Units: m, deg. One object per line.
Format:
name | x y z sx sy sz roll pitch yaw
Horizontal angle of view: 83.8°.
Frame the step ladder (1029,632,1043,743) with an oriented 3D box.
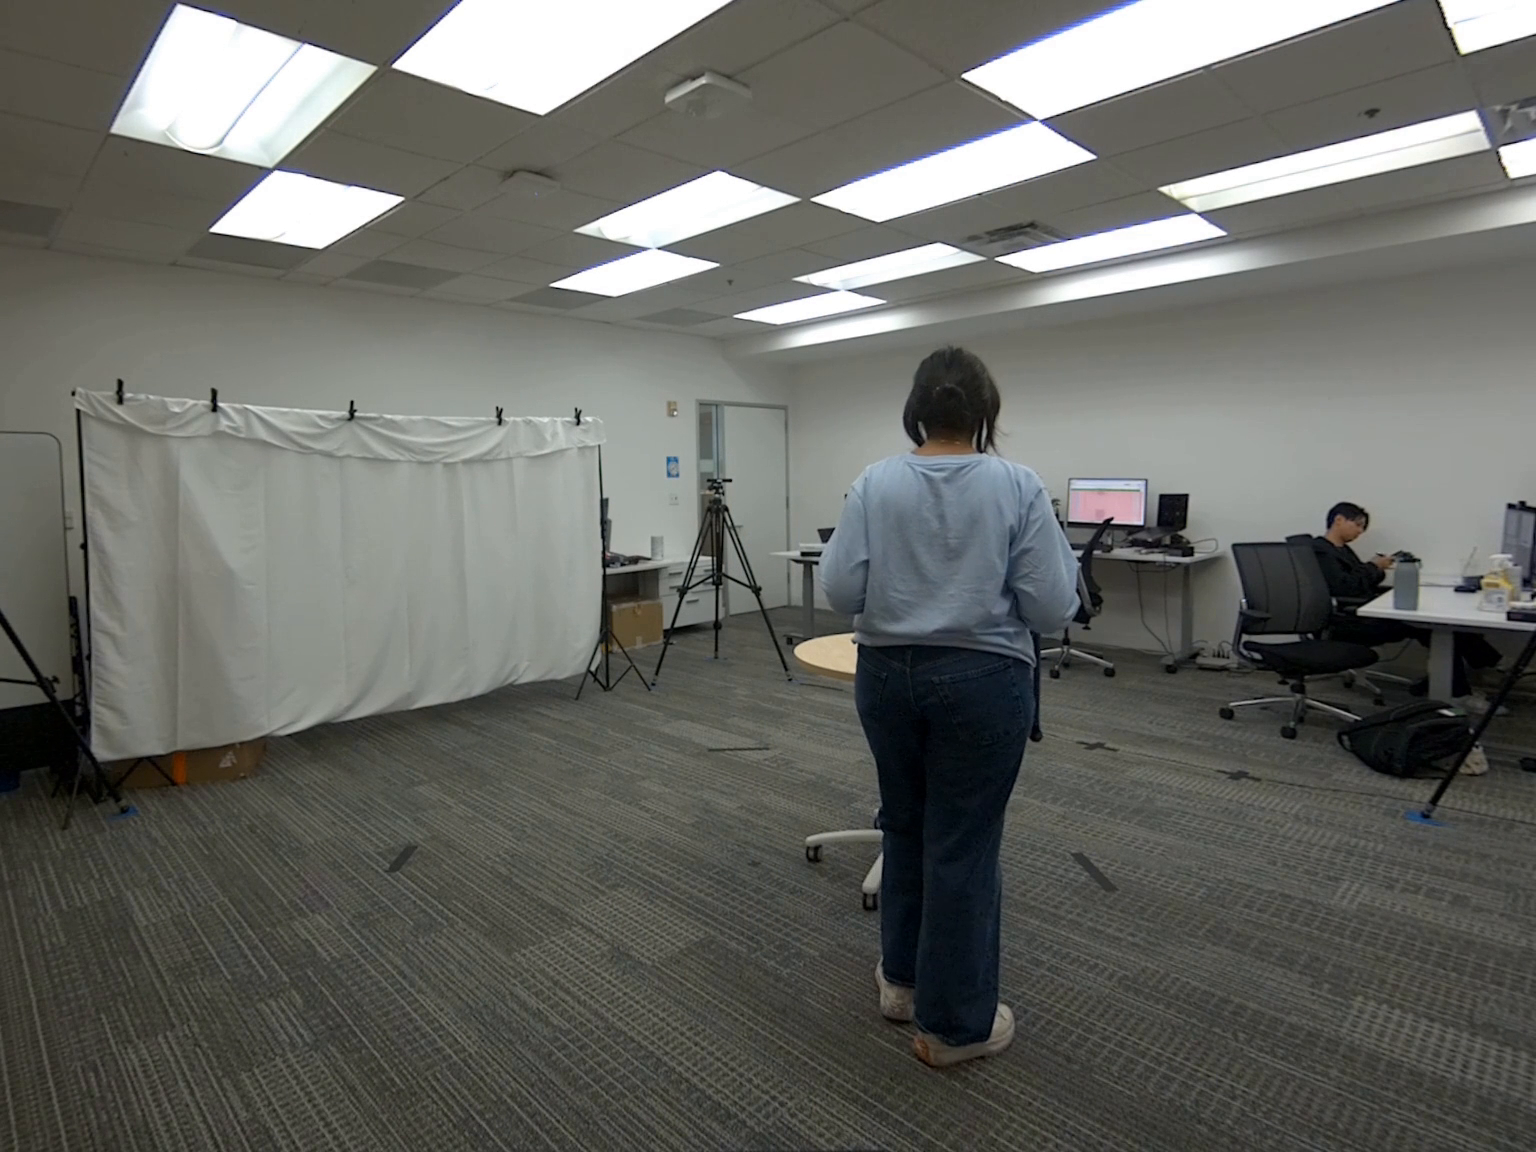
step ladder | 0.506 0.062 2.260 0.437 0.590 0.353 2 31 14
